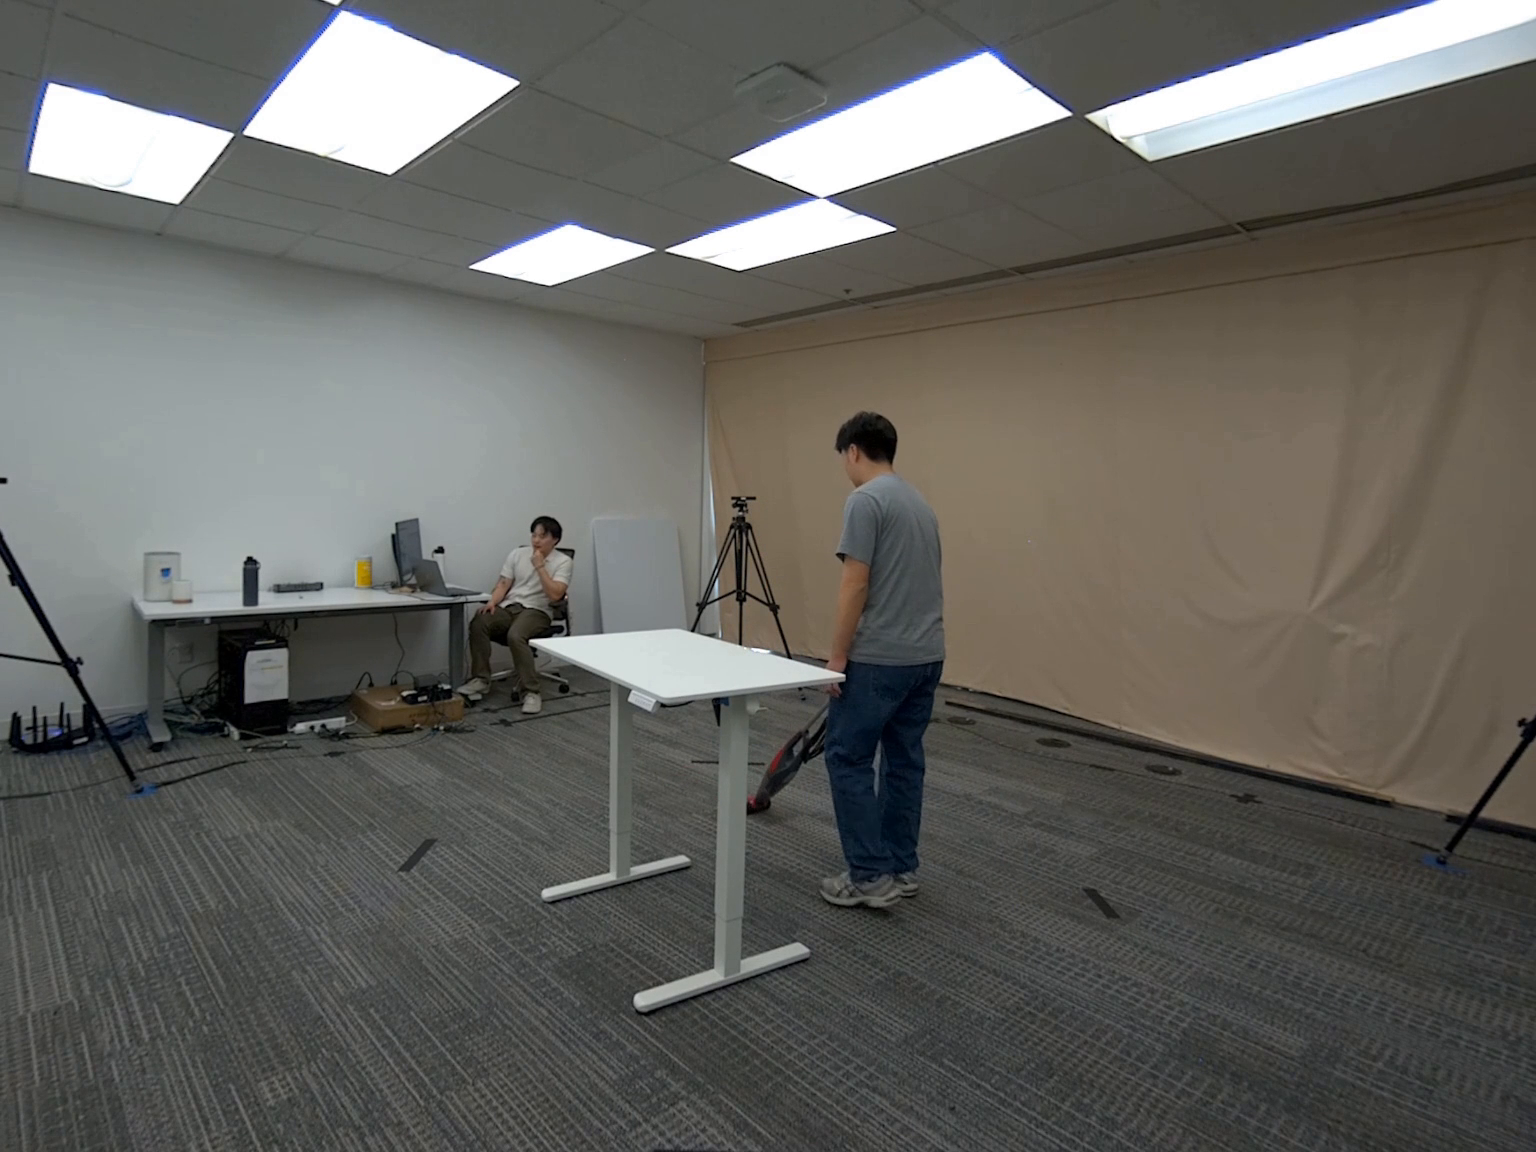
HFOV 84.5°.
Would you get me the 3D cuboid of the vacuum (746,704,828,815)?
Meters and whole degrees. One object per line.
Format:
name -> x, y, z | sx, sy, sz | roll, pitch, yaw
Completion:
vacuum -> 0.148, 0.691, 3.509 | 0.247, 0.148, 1.044 | -4, -39, -40
